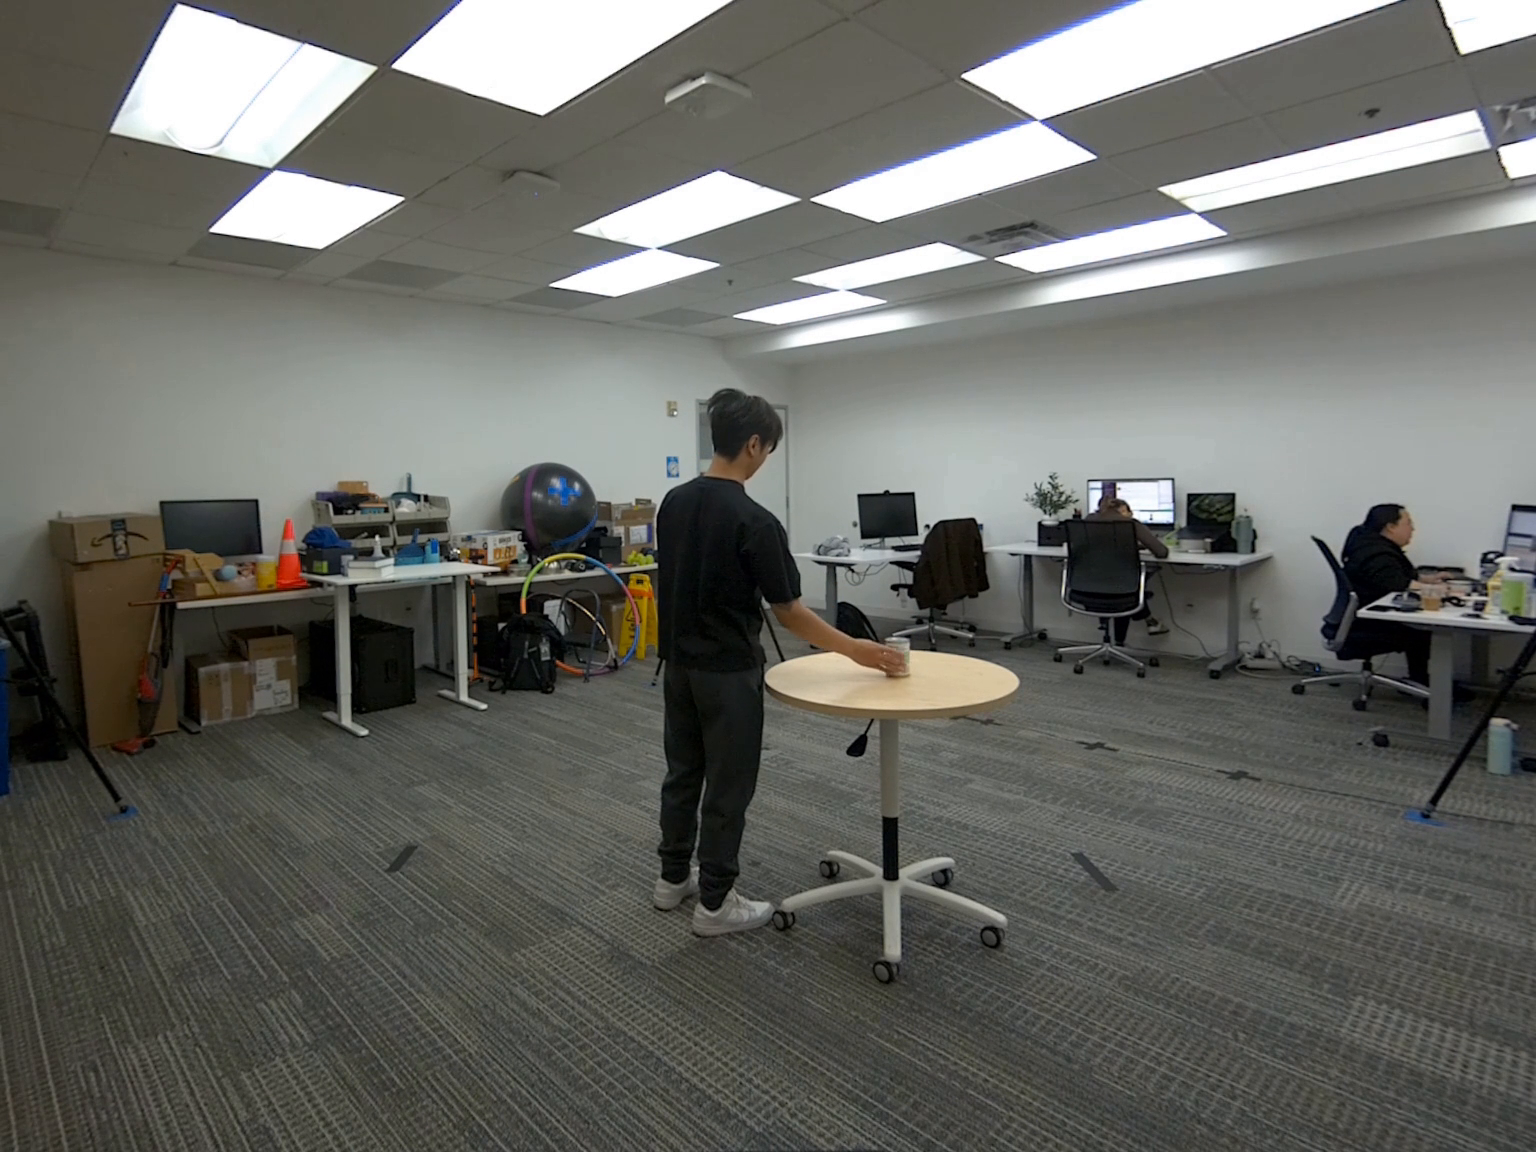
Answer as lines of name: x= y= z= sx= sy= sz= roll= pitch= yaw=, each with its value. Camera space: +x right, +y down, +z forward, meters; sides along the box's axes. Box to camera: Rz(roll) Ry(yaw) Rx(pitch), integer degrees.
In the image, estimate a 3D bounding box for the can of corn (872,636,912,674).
can of corn: x=0.387 y=0.252 z=2.633 sx=0.074 sy=0.110 sz=0.074 roll=-1 pitch=5 yaw=-2
